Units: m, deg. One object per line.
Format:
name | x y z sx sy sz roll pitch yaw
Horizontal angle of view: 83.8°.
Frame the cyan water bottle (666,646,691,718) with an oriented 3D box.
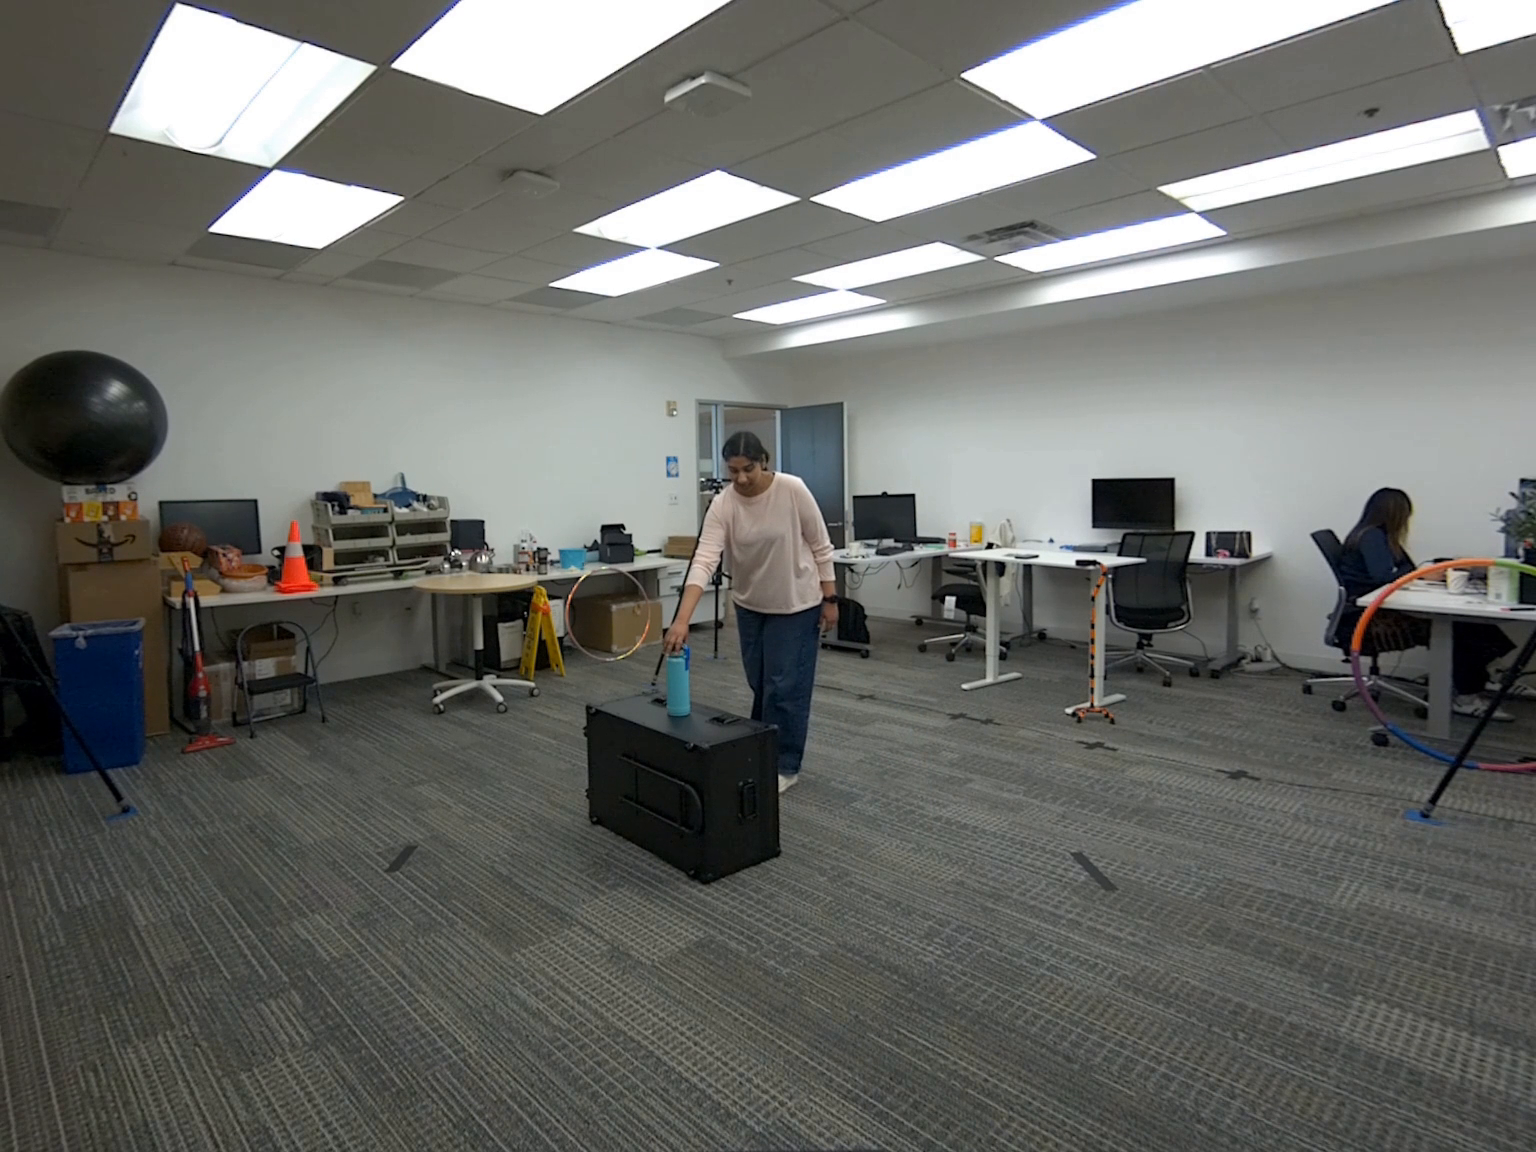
cyan water bottle | -0.353 0.402 3.360 0.092 0.283 0.092 -1 2 -2
